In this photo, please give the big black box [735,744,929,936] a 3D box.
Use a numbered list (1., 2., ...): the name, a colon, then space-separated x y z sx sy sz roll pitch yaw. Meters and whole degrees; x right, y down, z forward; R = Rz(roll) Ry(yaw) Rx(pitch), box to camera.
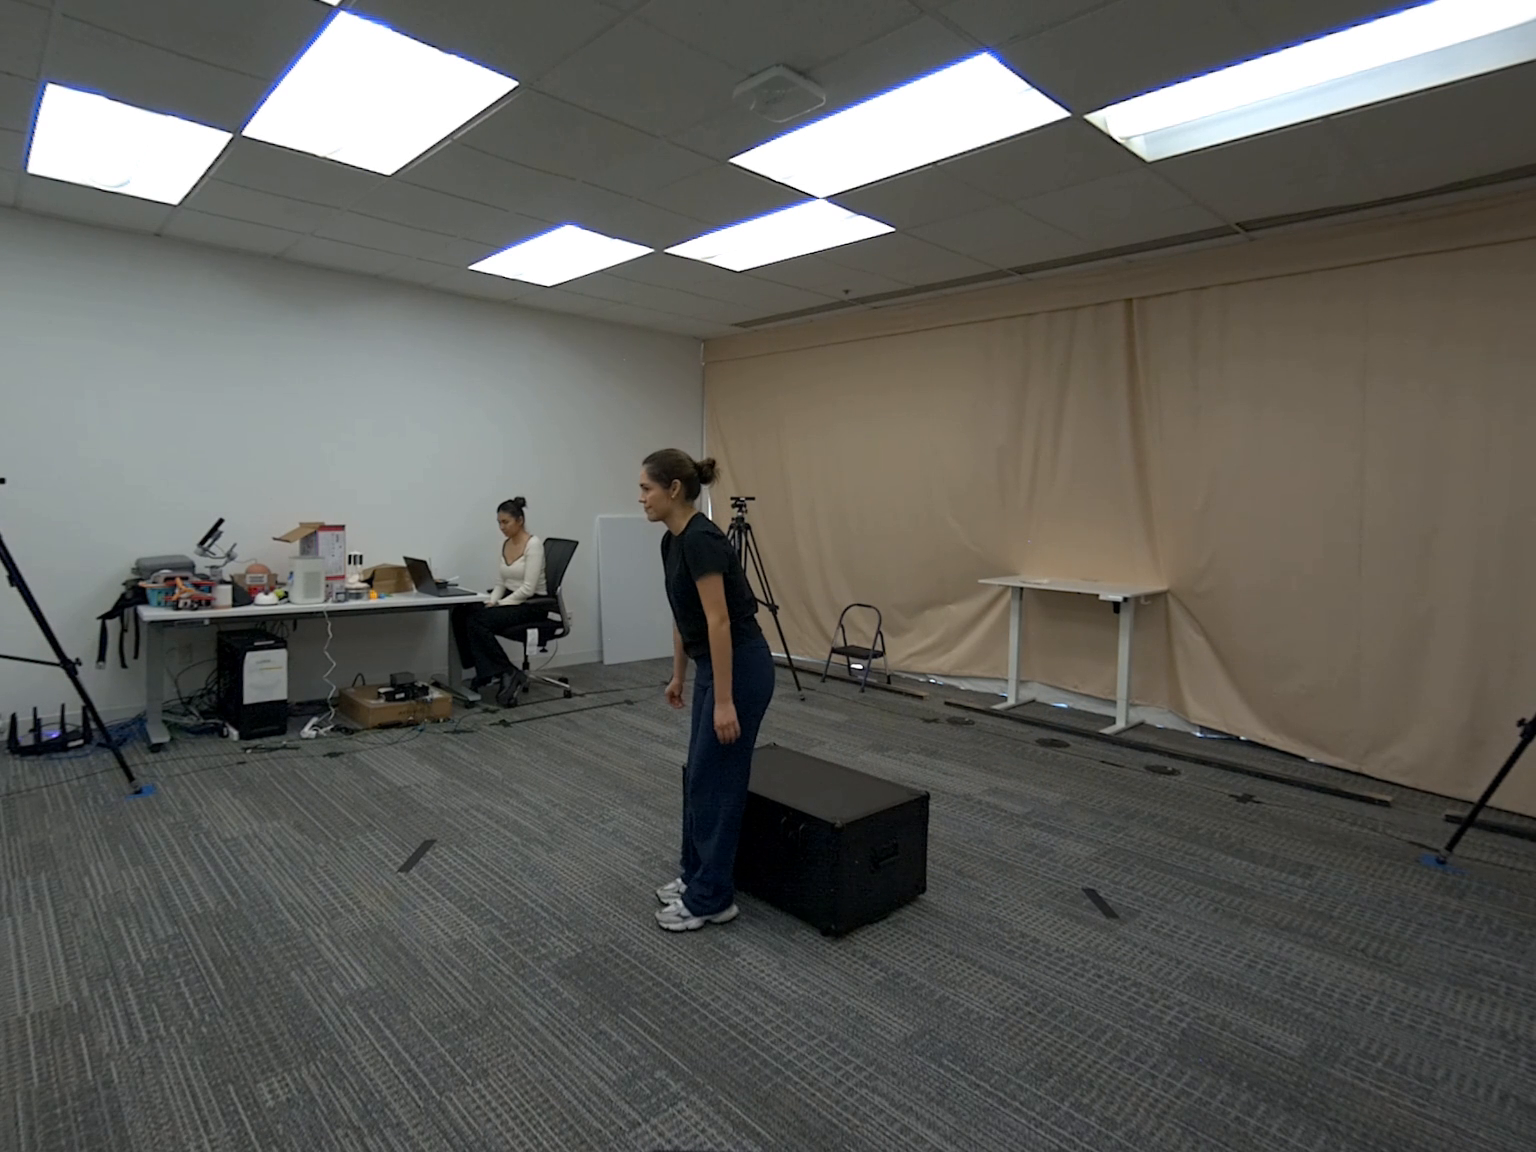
1. big black box: 0.096 0.922 3.092 0.509 0.395 0.884 -3 7 -44
